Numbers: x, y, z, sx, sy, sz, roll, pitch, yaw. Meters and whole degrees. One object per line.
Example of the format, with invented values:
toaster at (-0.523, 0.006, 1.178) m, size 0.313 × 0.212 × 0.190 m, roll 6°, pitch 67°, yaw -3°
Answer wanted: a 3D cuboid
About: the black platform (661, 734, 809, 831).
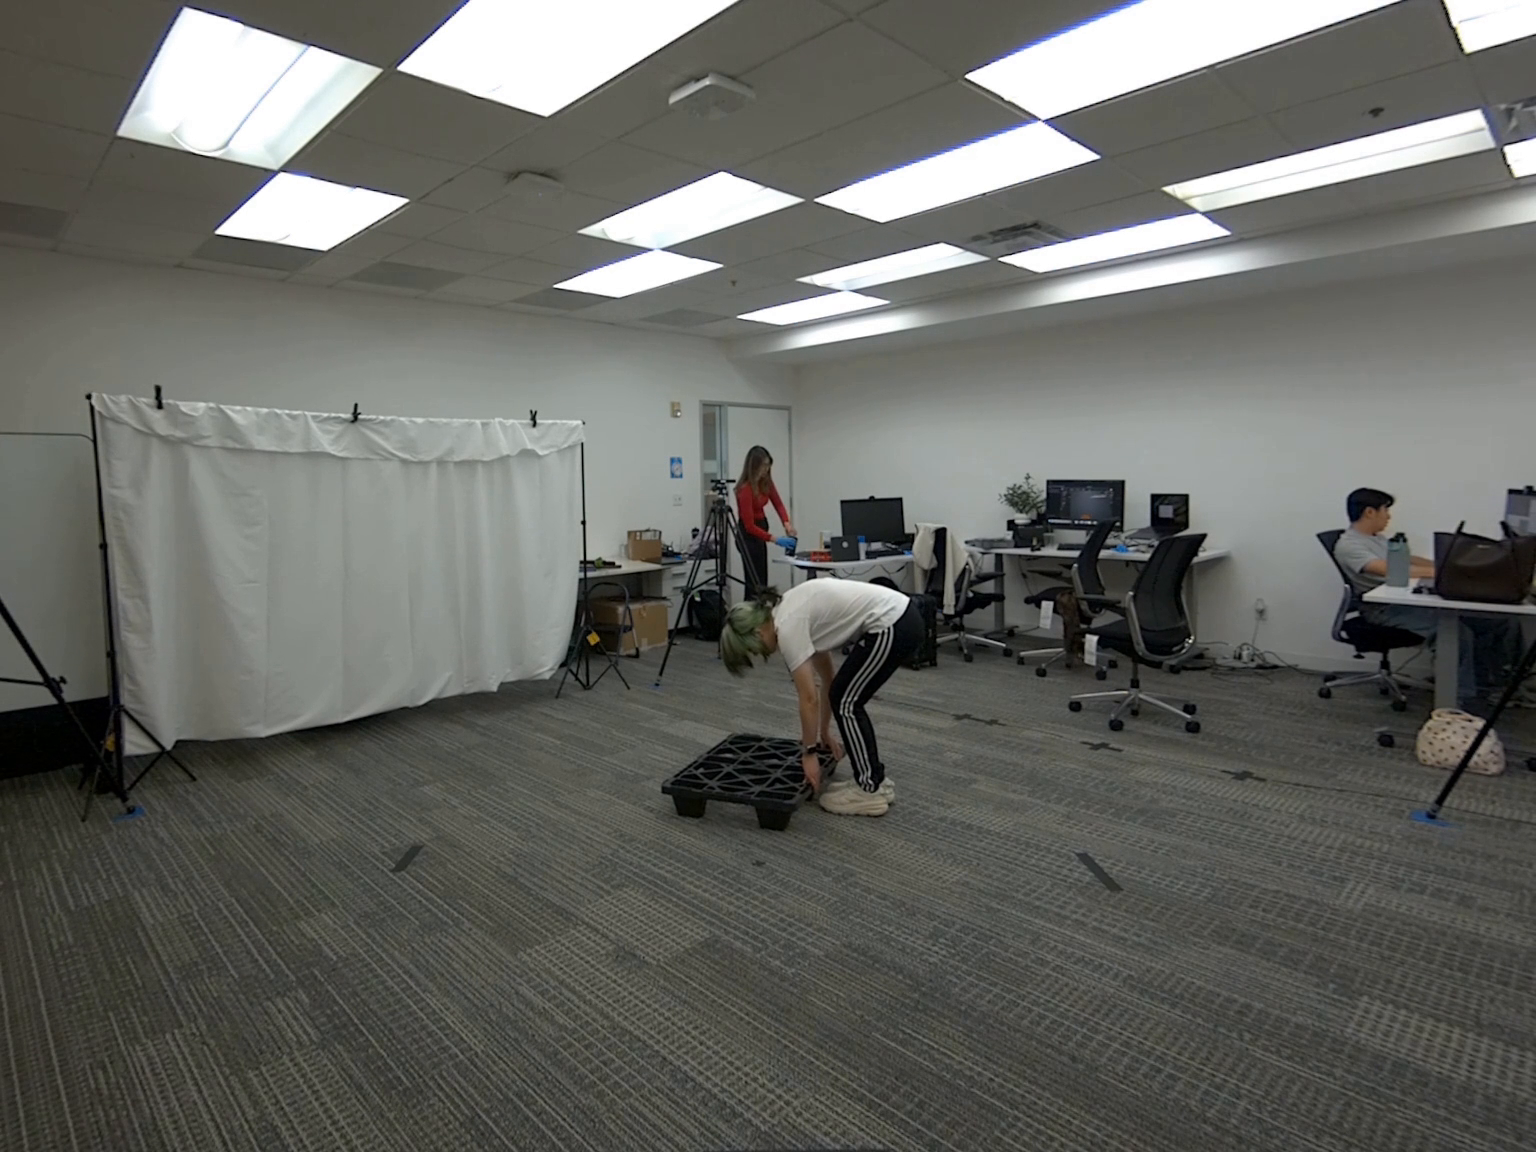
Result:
black platform at (-0.036, 0.900, 3.810) m, size 0.617 × 0.143 × 0.793 m, roll 0°, pitch 7°, yaw 22°
